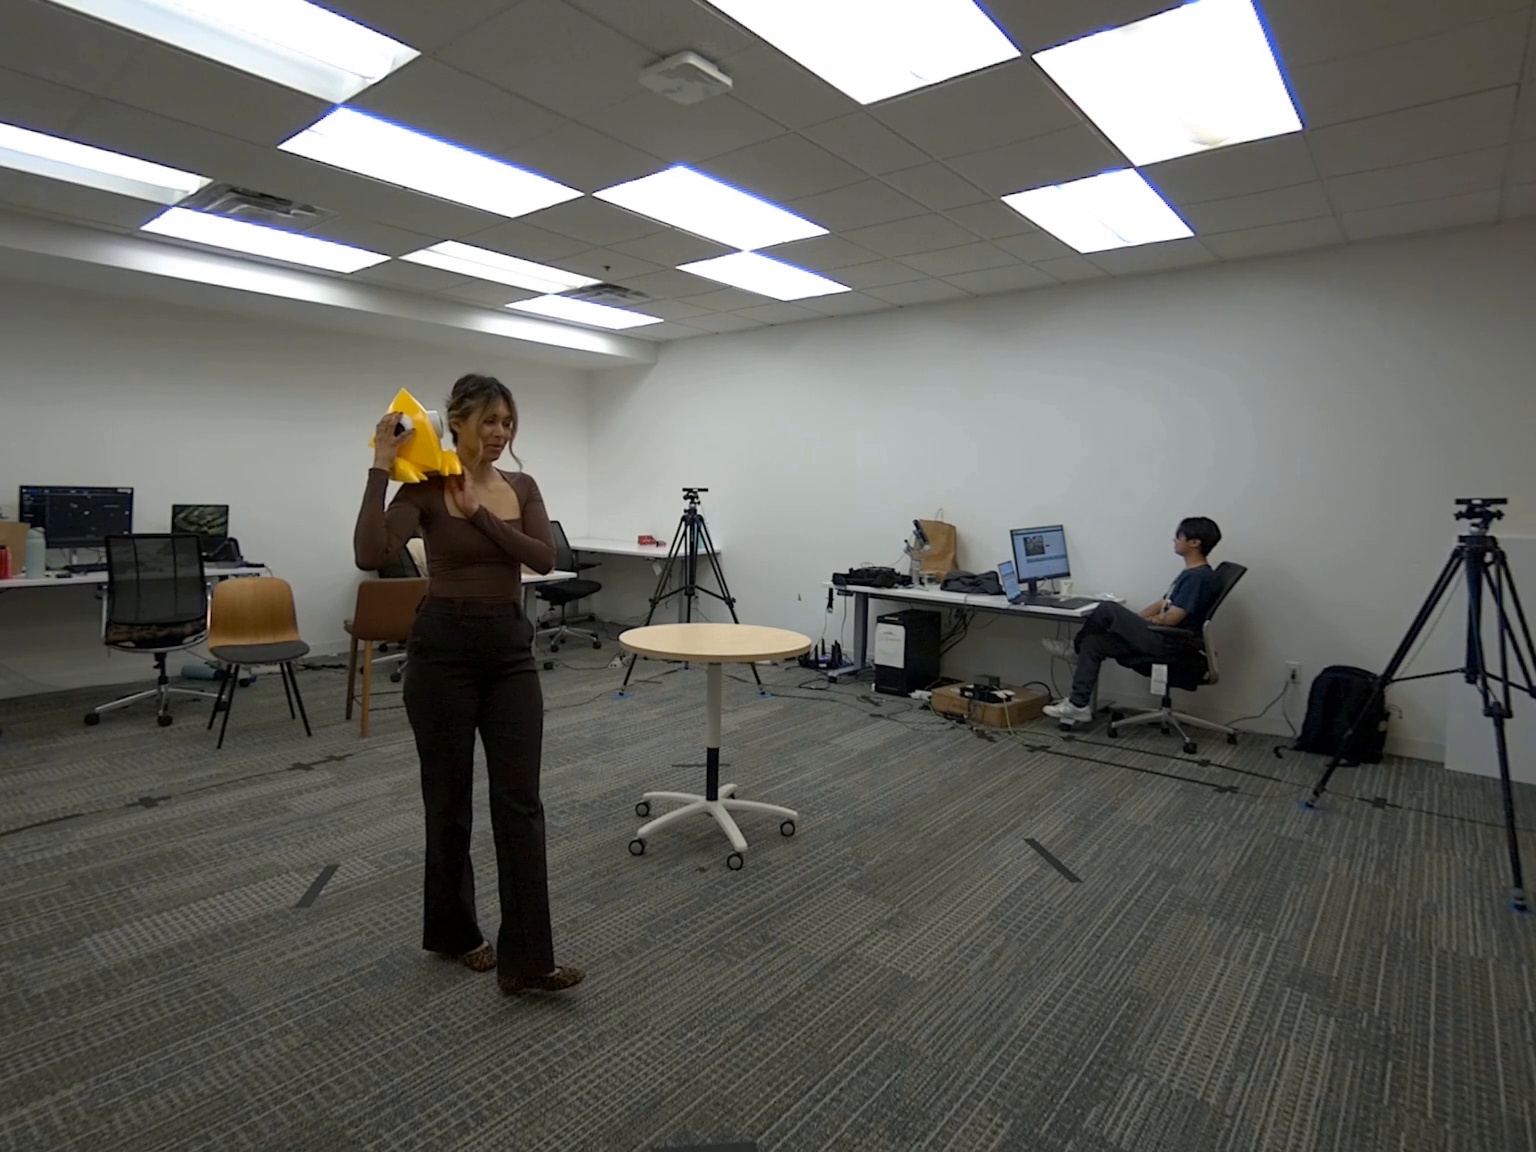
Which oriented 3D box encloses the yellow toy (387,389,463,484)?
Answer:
[{"bbox_3d":[-0.970,-0.396,2.335,0.200,0.227,0.200,16,23,36],"label":"yellow toy"}]
